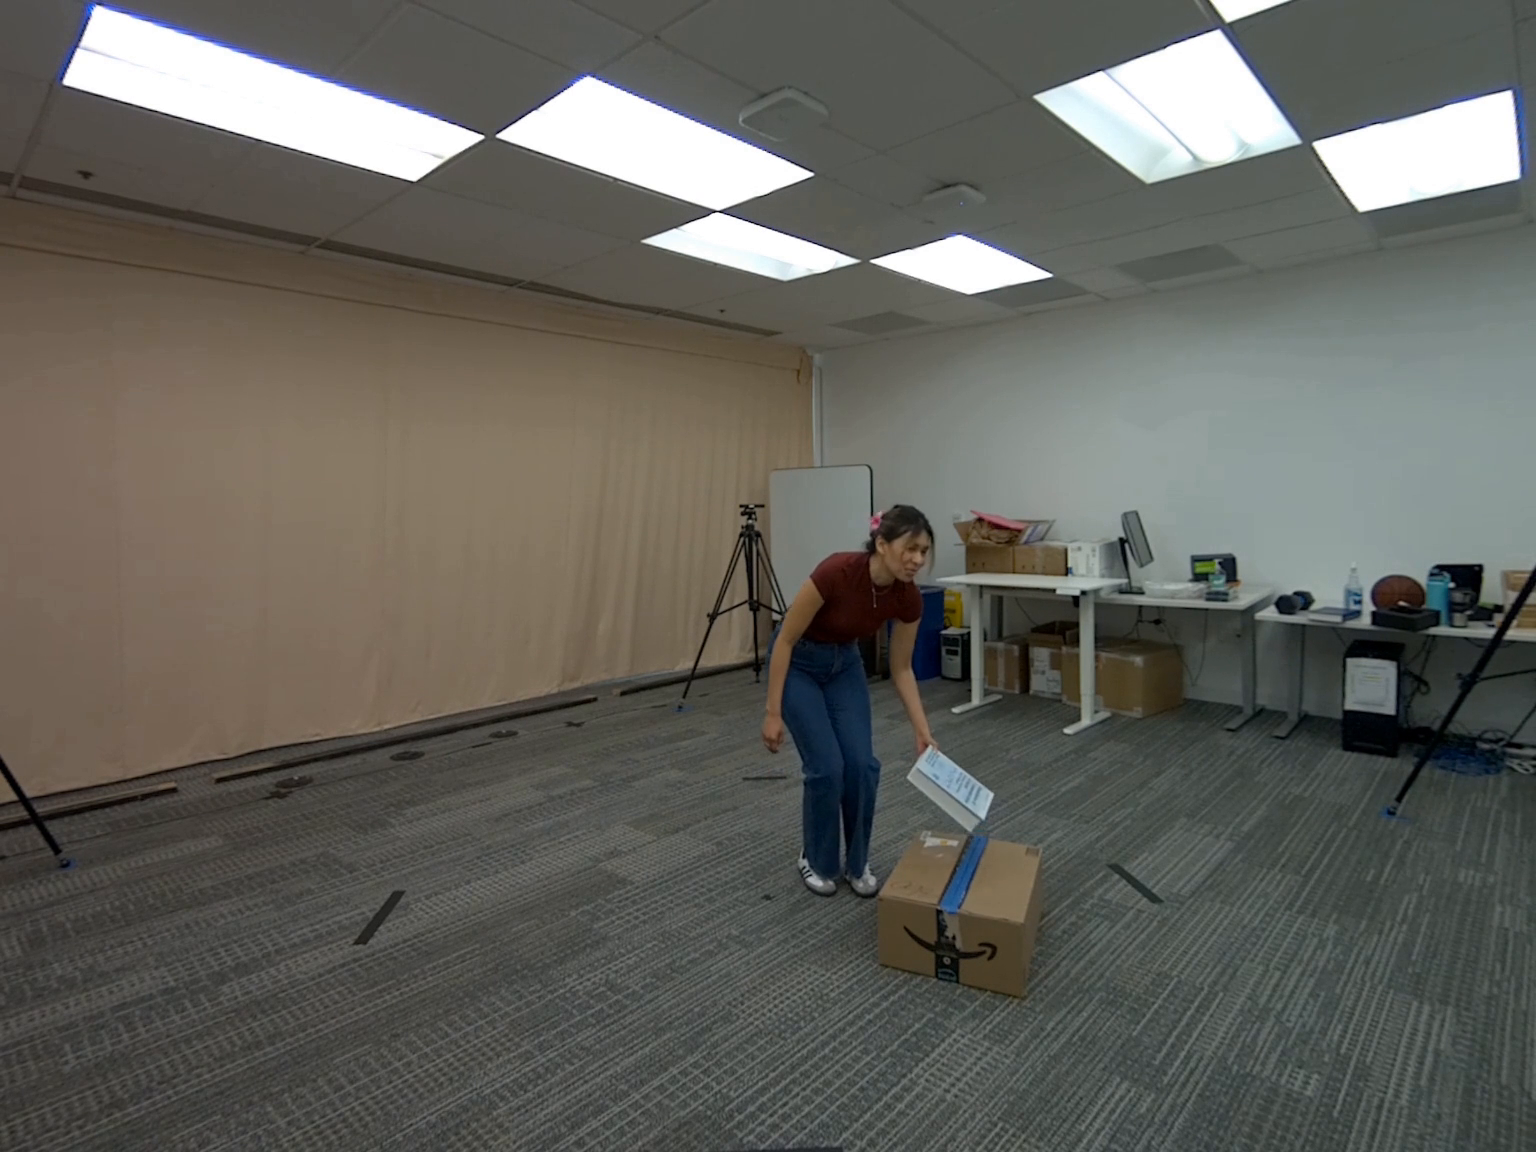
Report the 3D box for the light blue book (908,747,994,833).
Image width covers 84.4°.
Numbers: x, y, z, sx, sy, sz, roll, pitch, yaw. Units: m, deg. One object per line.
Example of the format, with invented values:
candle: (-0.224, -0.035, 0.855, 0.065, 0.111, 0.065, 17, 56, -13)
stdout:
light blue book: (0.635, 0.703, 2.833, 0.266, 0.059, 0.188, 38, 29, 16)
